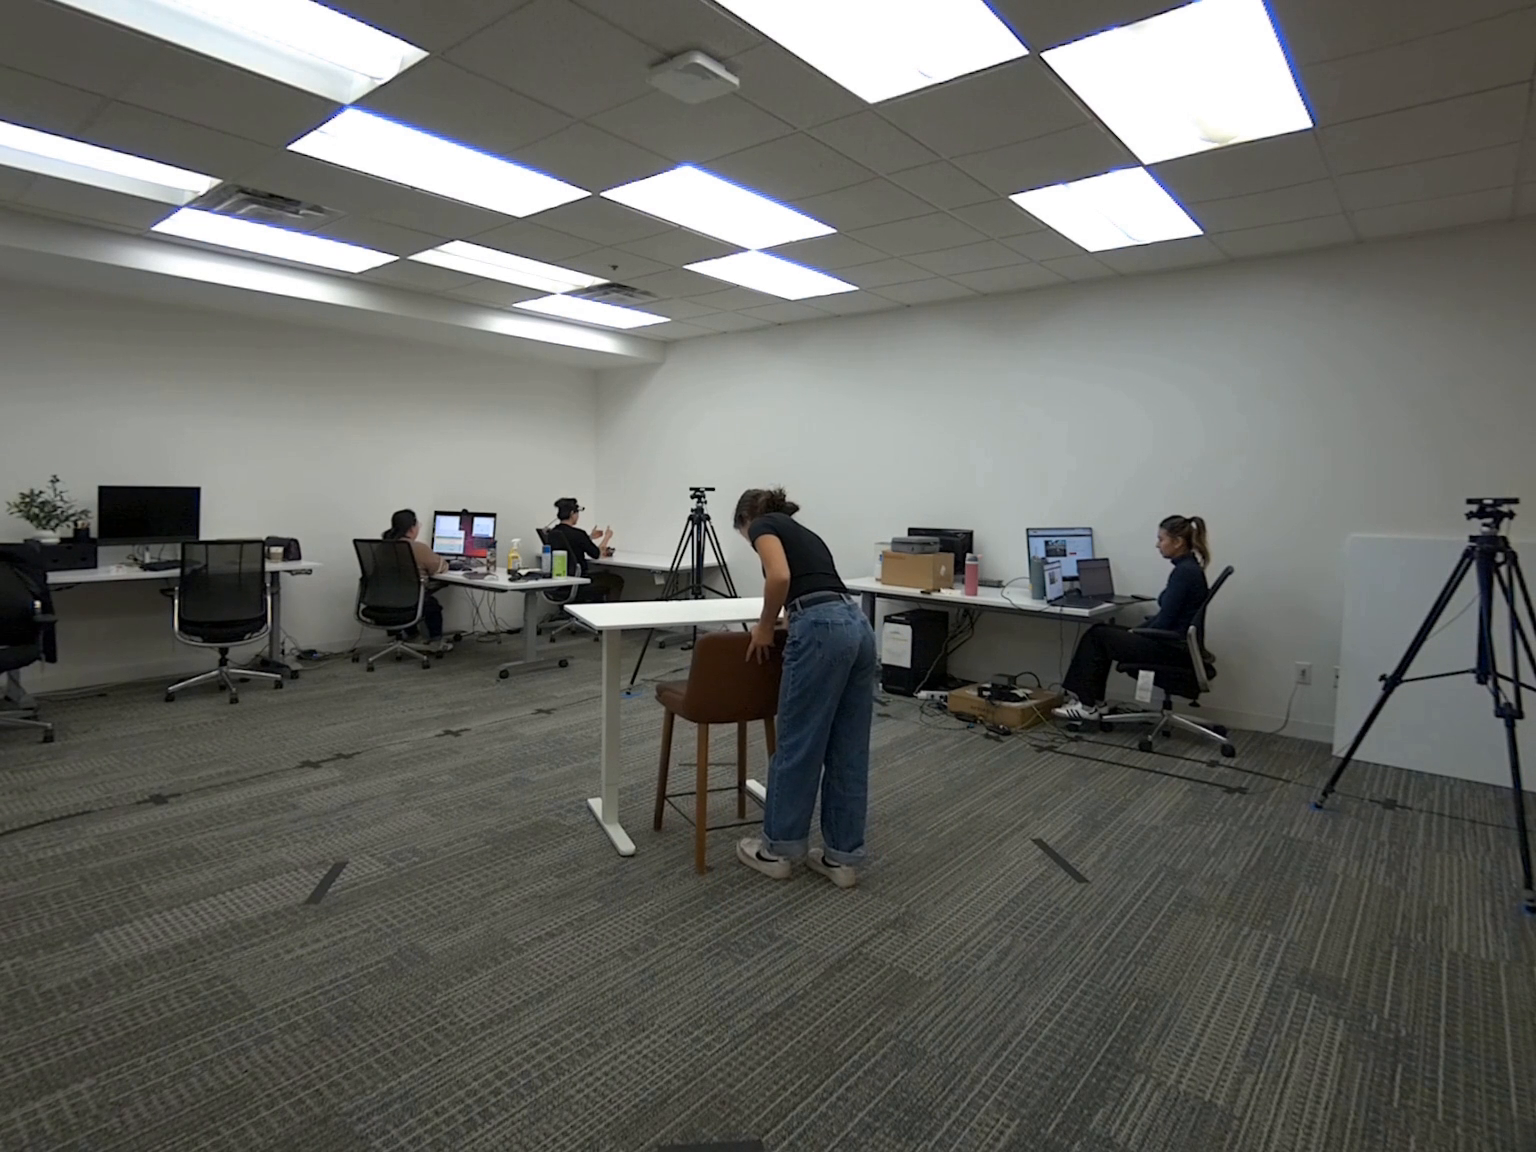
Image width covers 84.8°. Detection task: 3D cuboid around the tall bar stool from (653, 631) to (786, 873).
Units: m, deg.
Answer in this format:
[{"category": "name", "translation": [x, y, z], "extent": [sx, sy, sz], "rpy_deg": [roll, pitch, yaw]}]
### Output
[{"category": "tall bar stool", "translation": [-0.191, 0.613, 3.308], "extent": [0.446, 0.885, 0.481], "rpy_deg": [-1, 6, -24]}]
